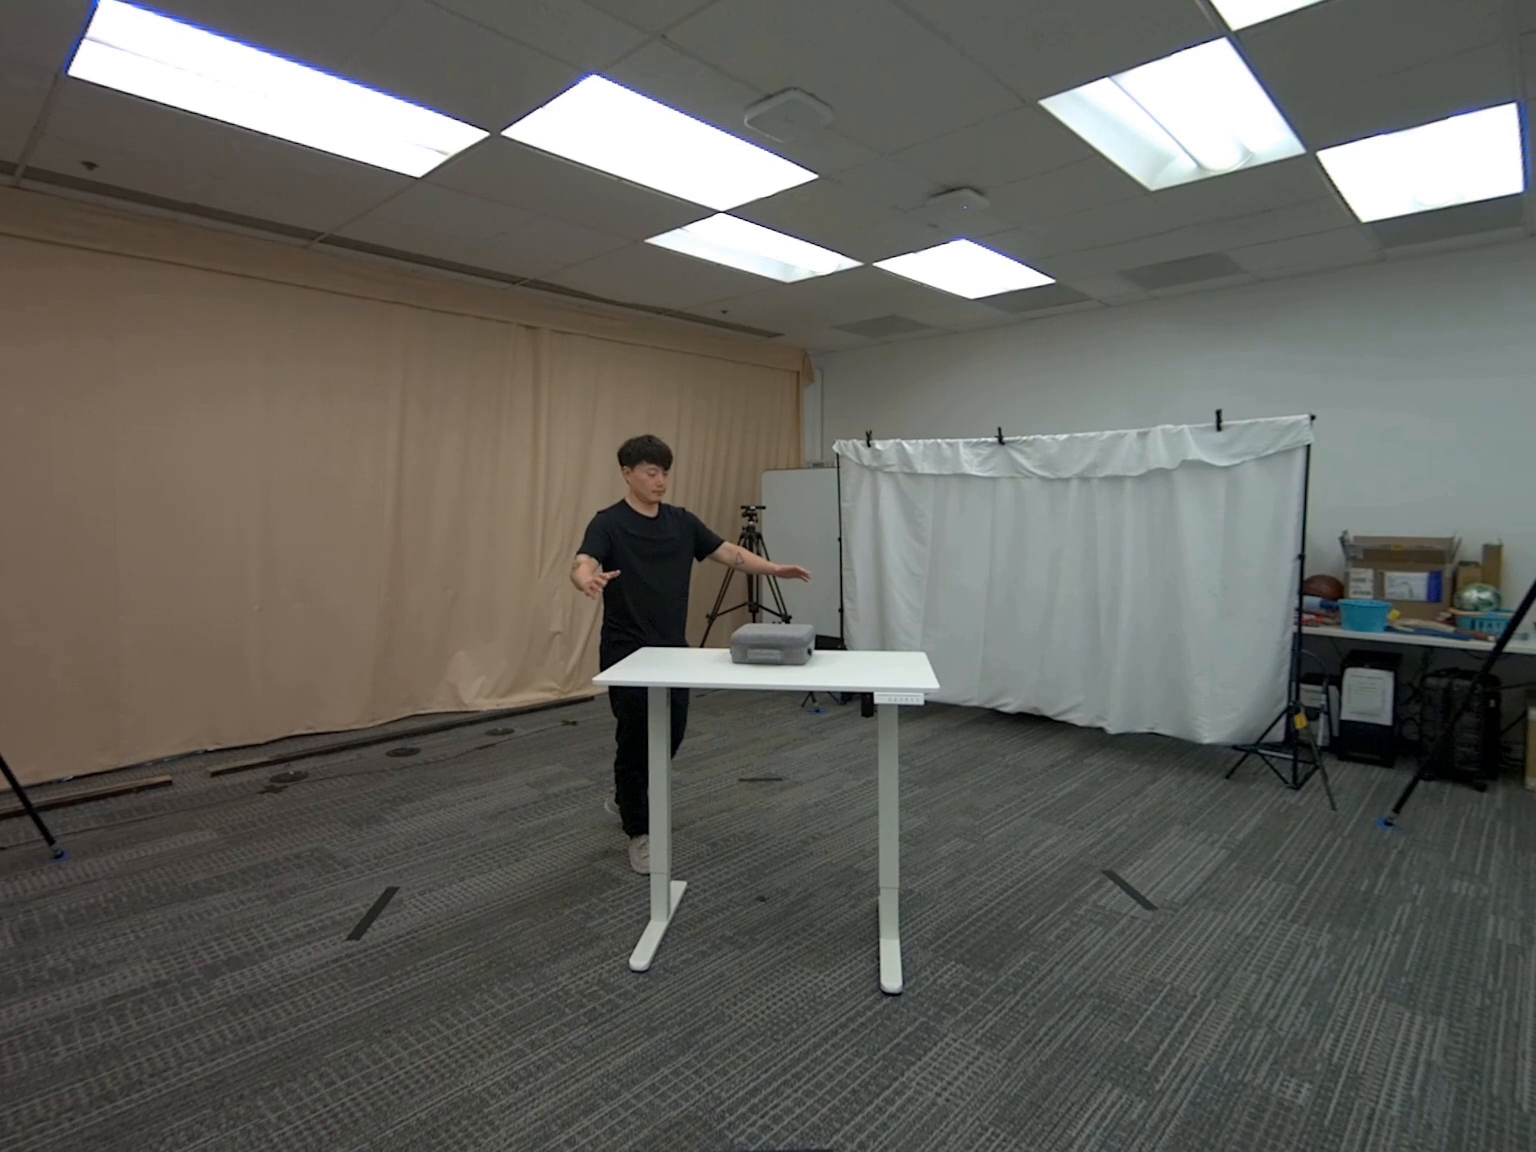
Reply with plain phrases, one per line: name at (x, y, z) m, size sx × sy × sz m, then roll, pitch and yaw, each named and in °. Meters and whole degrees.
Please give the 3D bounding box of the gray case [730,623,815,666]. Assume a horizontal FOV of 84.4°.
gray case at (0.025, 0.224, 2.798) m, size 0.261 × 0.104 × 0.257 m, roll 1°, pitch 5°, yaw 12°
